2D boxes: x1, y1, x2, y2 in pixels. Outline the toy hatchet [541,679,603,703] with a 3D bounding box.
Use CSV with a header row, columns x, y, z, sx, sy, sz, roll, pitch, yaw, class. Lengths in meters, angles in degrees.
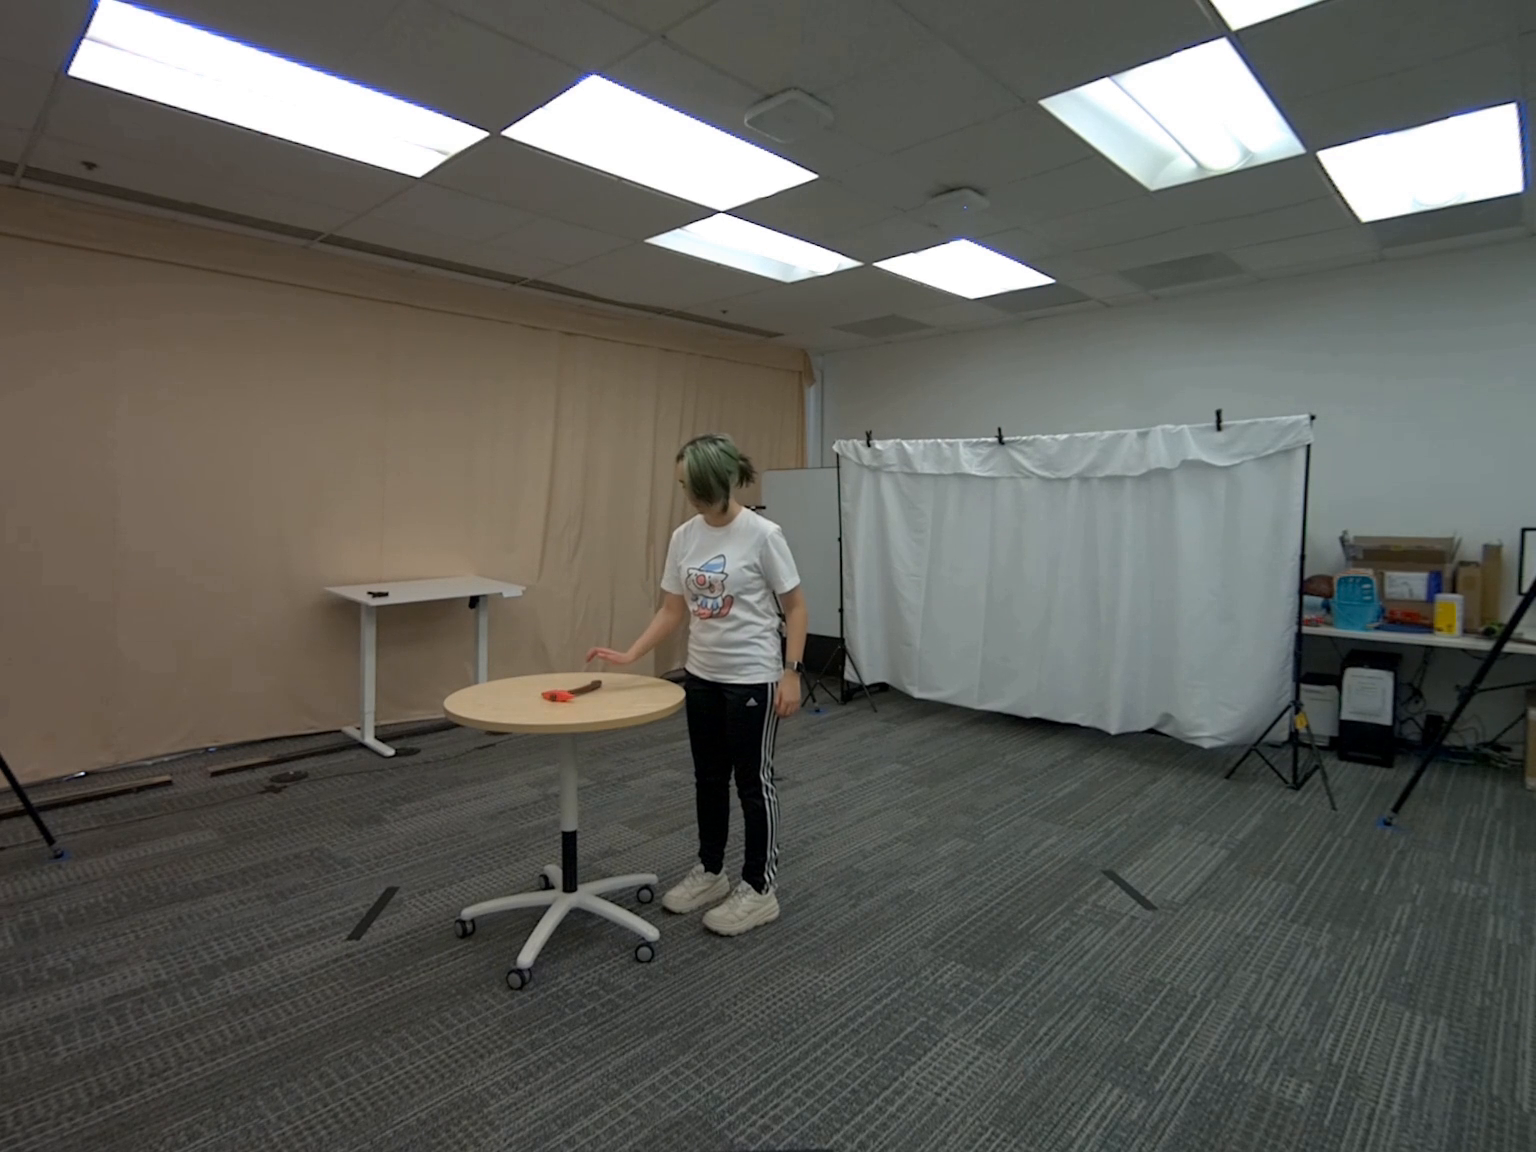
x,y,z,sx,sy,sz,roll,pitch,yaw,class
-0.642,0.370,2.758,0.132,0.029,0.267,-5,2,9,toy hatchet
